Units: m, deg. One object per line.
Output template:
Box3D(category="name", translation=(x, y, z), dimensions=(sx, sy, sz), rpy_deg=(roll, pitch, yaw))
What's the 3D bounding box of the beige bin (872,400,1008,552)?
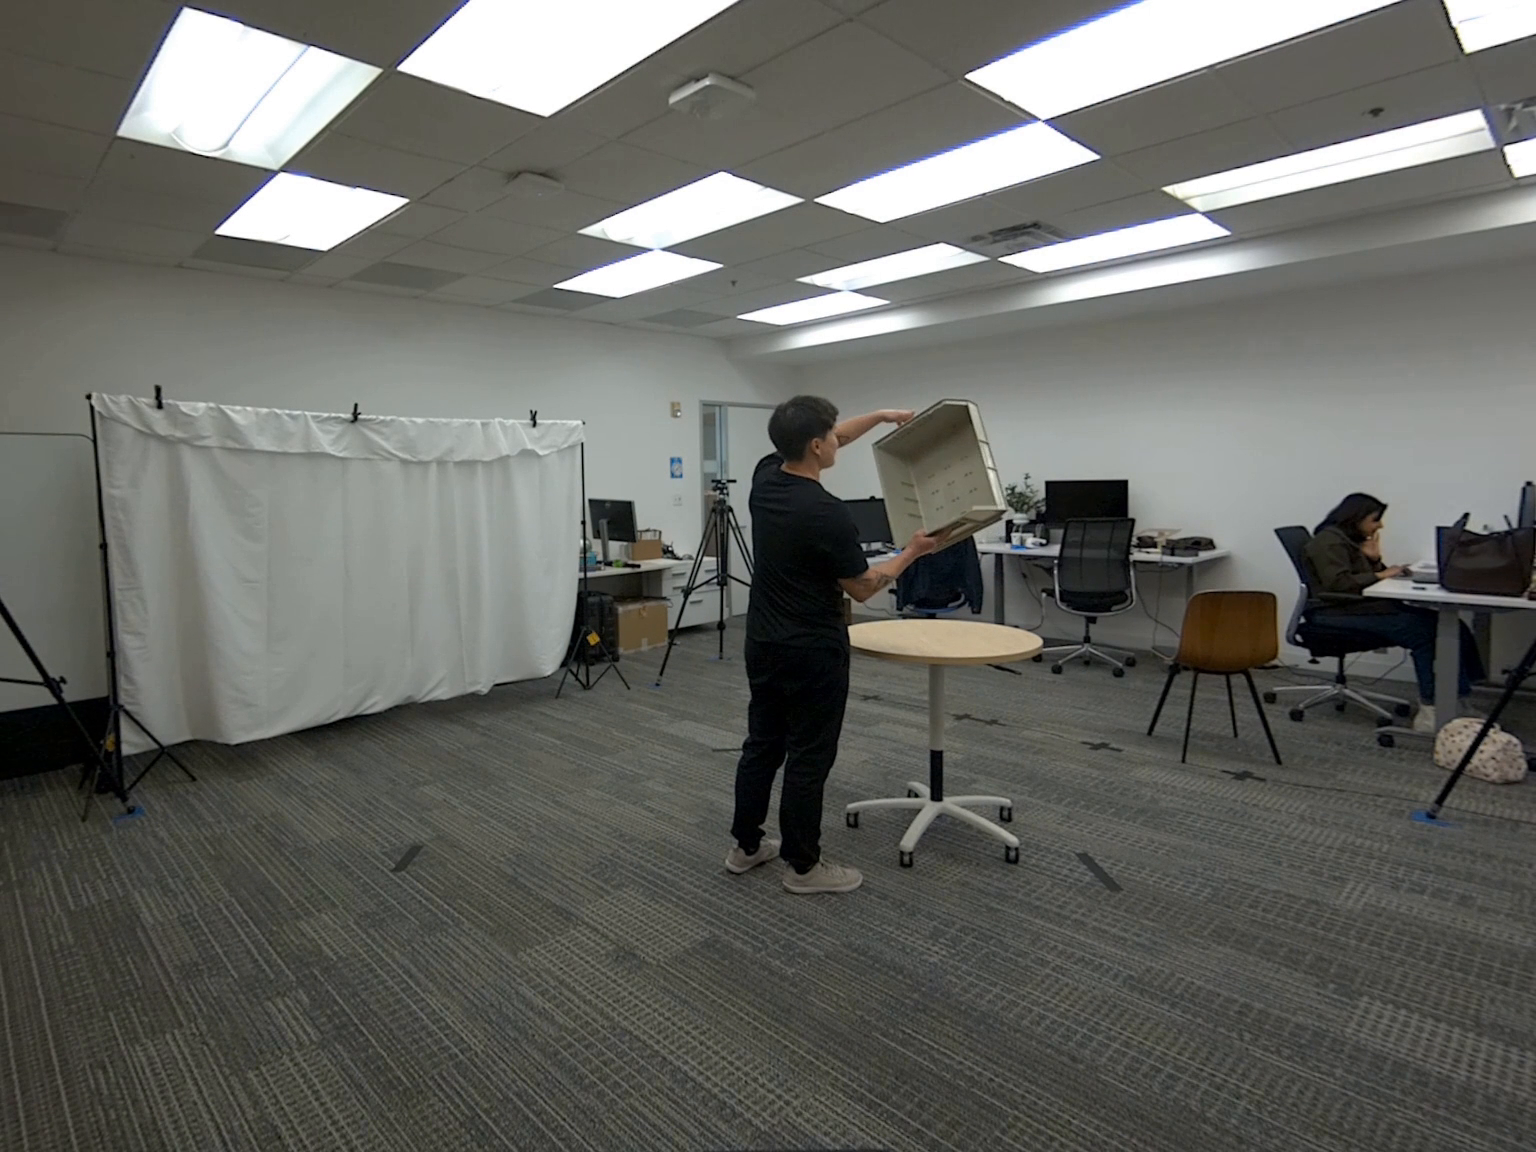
Box3D(category="beige bin", translation=(0.595, -0.343, 2.959), dimensions=(0.183, 0.432, 0.381), rpy_deg=(9, -28, -37))
